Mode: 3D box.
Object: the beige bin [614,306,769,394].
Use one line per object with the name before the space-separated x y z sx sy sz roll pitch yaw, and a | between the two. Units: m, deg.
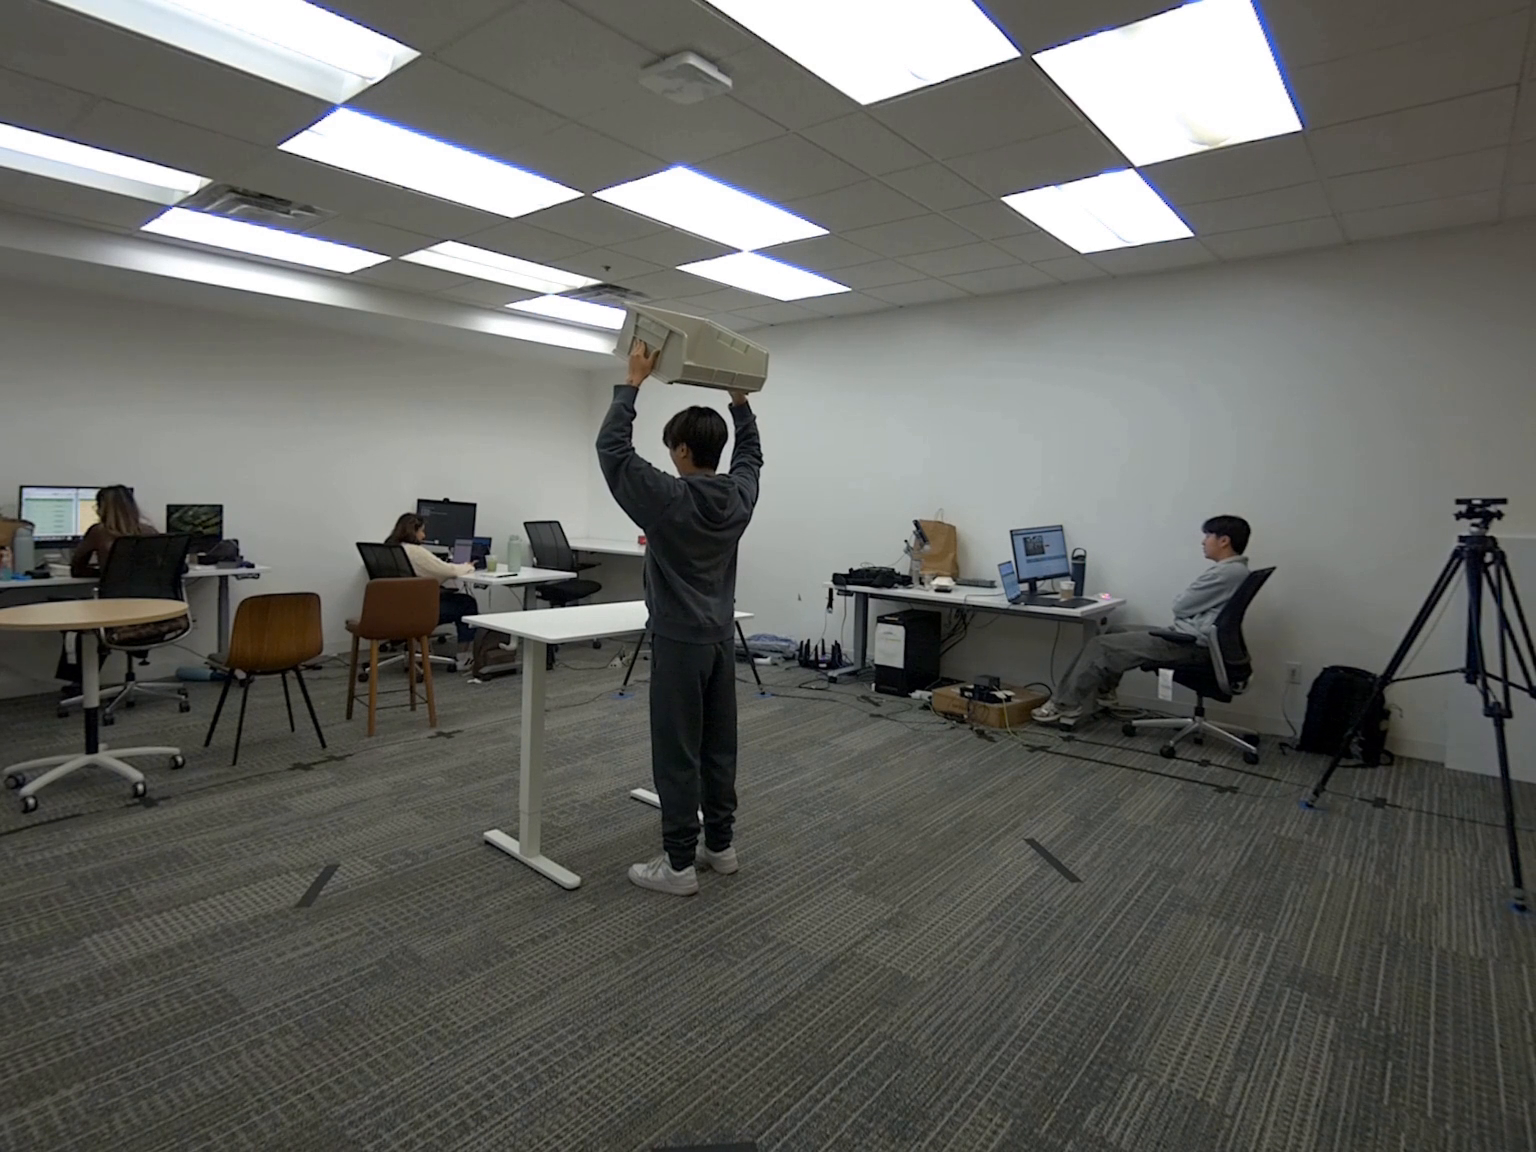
beige bin | -0.274 -0.787 2.987 0.410 0.187 0.393 -6 33 -47
